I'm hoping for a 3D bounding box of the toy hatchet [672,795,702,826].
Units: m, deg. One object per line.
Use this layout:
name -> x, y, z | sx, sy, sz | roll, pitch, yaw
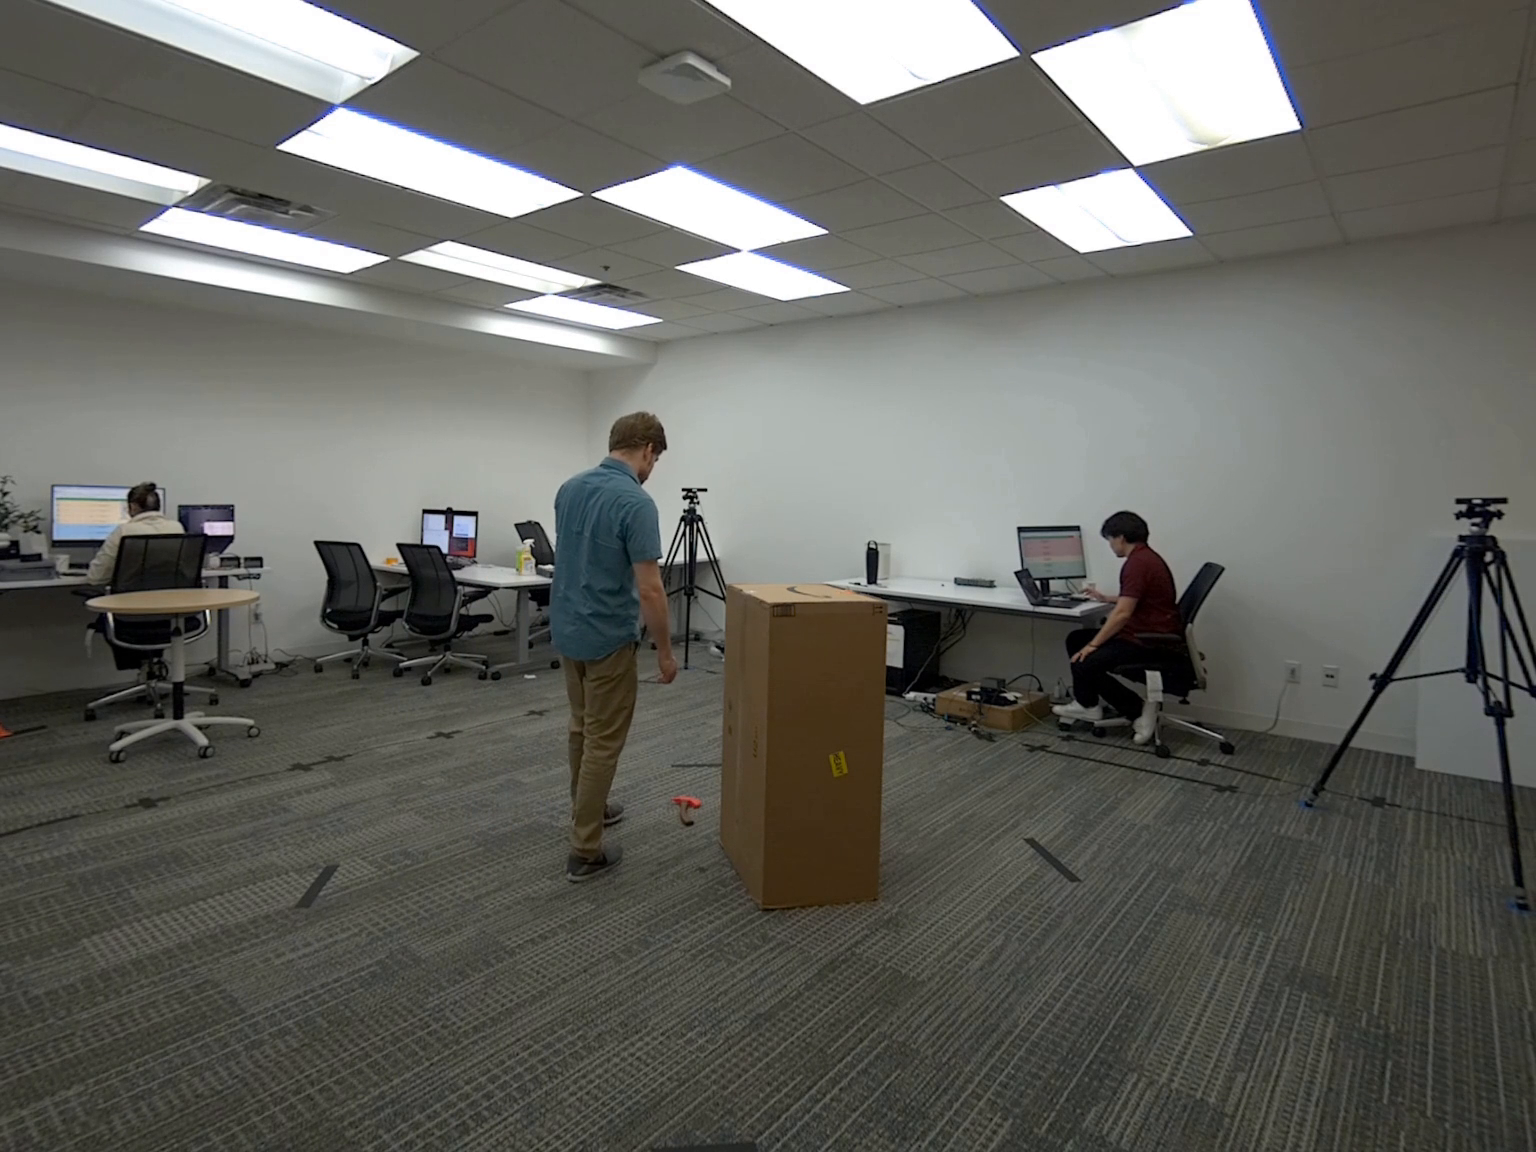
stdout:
toy hatchet -> -0.338, 1.002, 3.650 | 0.129, 0.029, 0.276 | 2, 8, -18
